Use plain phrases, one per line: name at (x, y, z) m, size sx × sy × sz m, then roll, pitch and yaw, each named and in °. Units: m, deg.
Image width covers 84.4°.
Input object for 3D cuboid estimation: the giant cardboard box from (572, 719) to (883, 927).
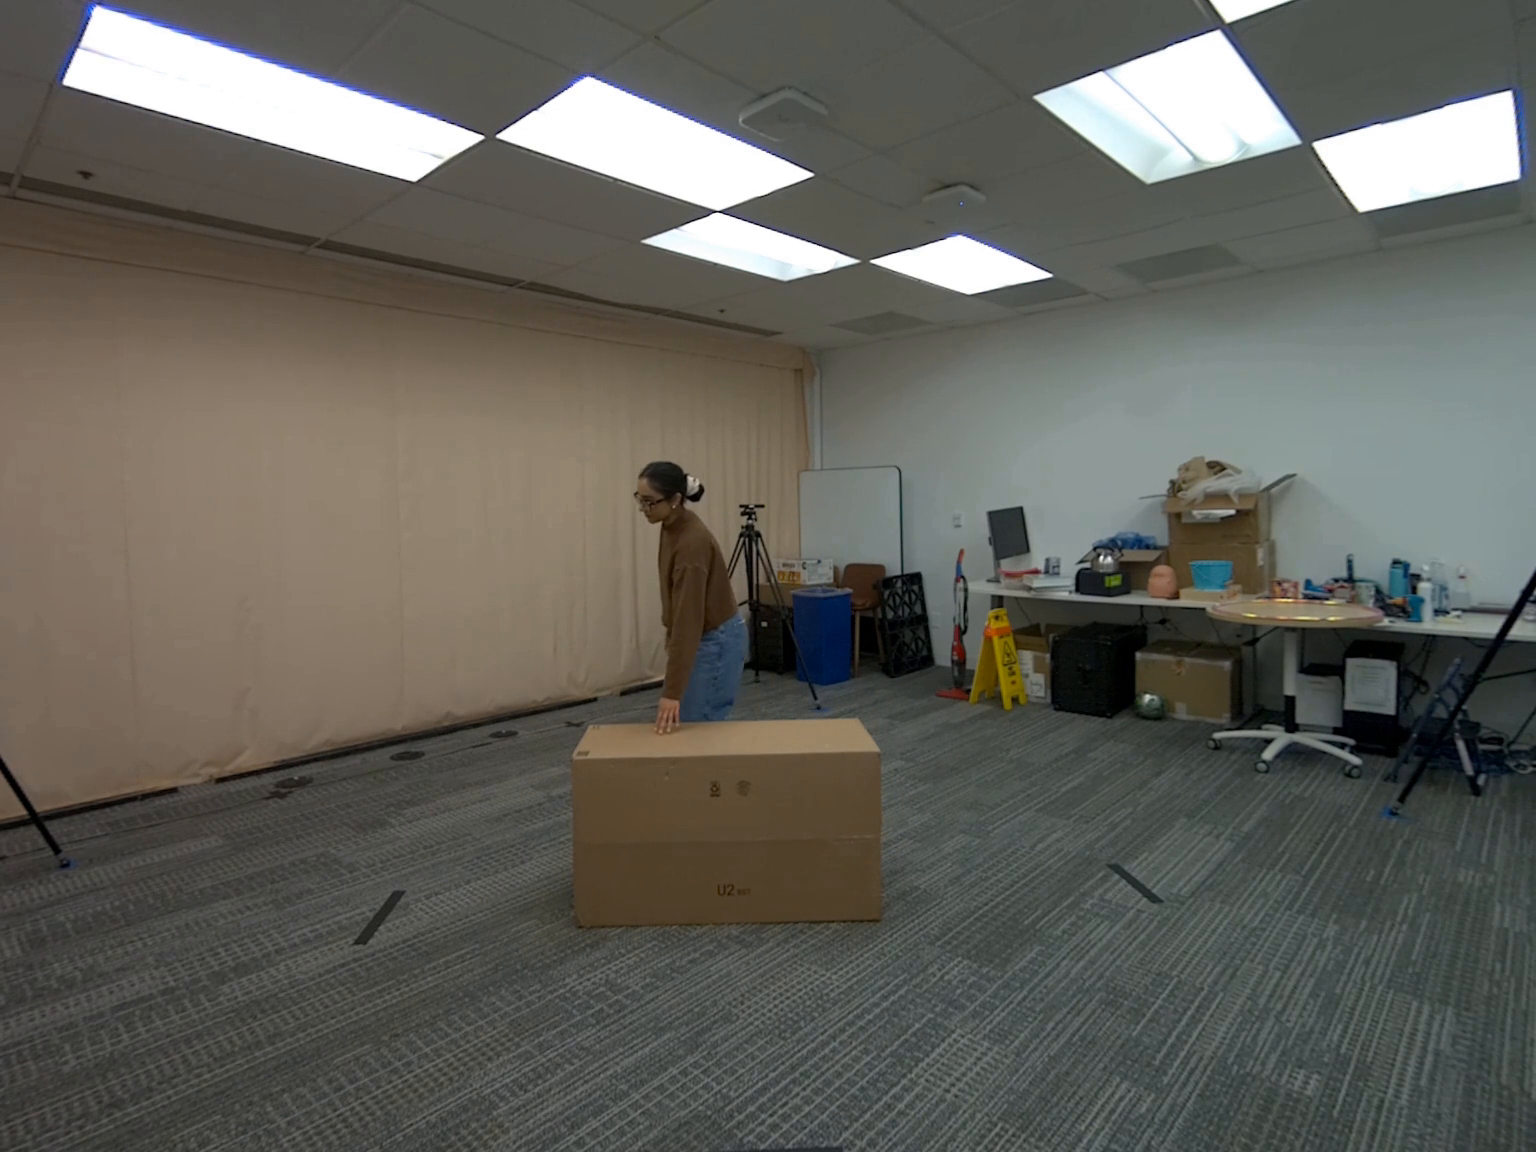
giant cardboard box at (-0.149, 0.856, 2.991) m, size 1.027 × 0.582 × 0.448 m, roll -1°, pitch 5°, yaw 0°
